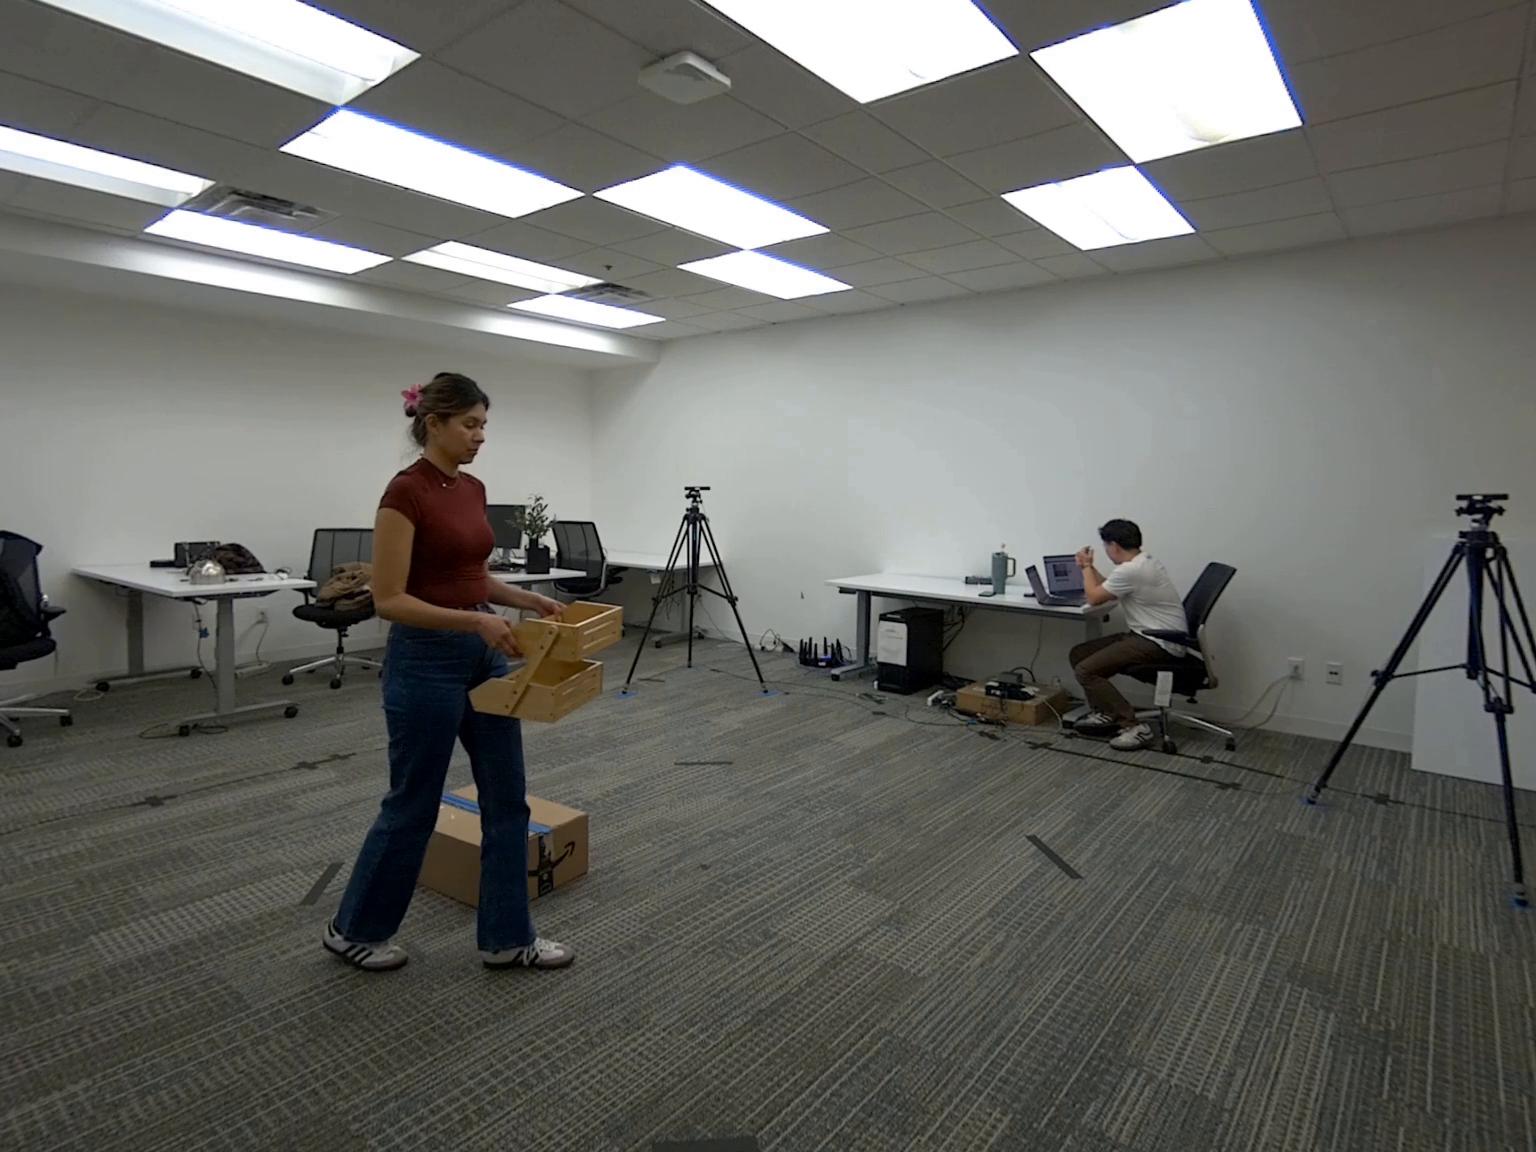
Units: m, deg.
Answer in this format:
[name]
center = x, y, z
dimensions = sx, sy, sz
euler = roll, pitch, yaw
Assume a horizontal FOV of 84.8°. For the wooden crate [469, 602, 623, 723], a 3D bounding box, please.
[wooden crate]
center = -0.613, 0.216, 2.318
dimensions = 0.307, 0.271, 0.321
euler = 6, 8, 14
